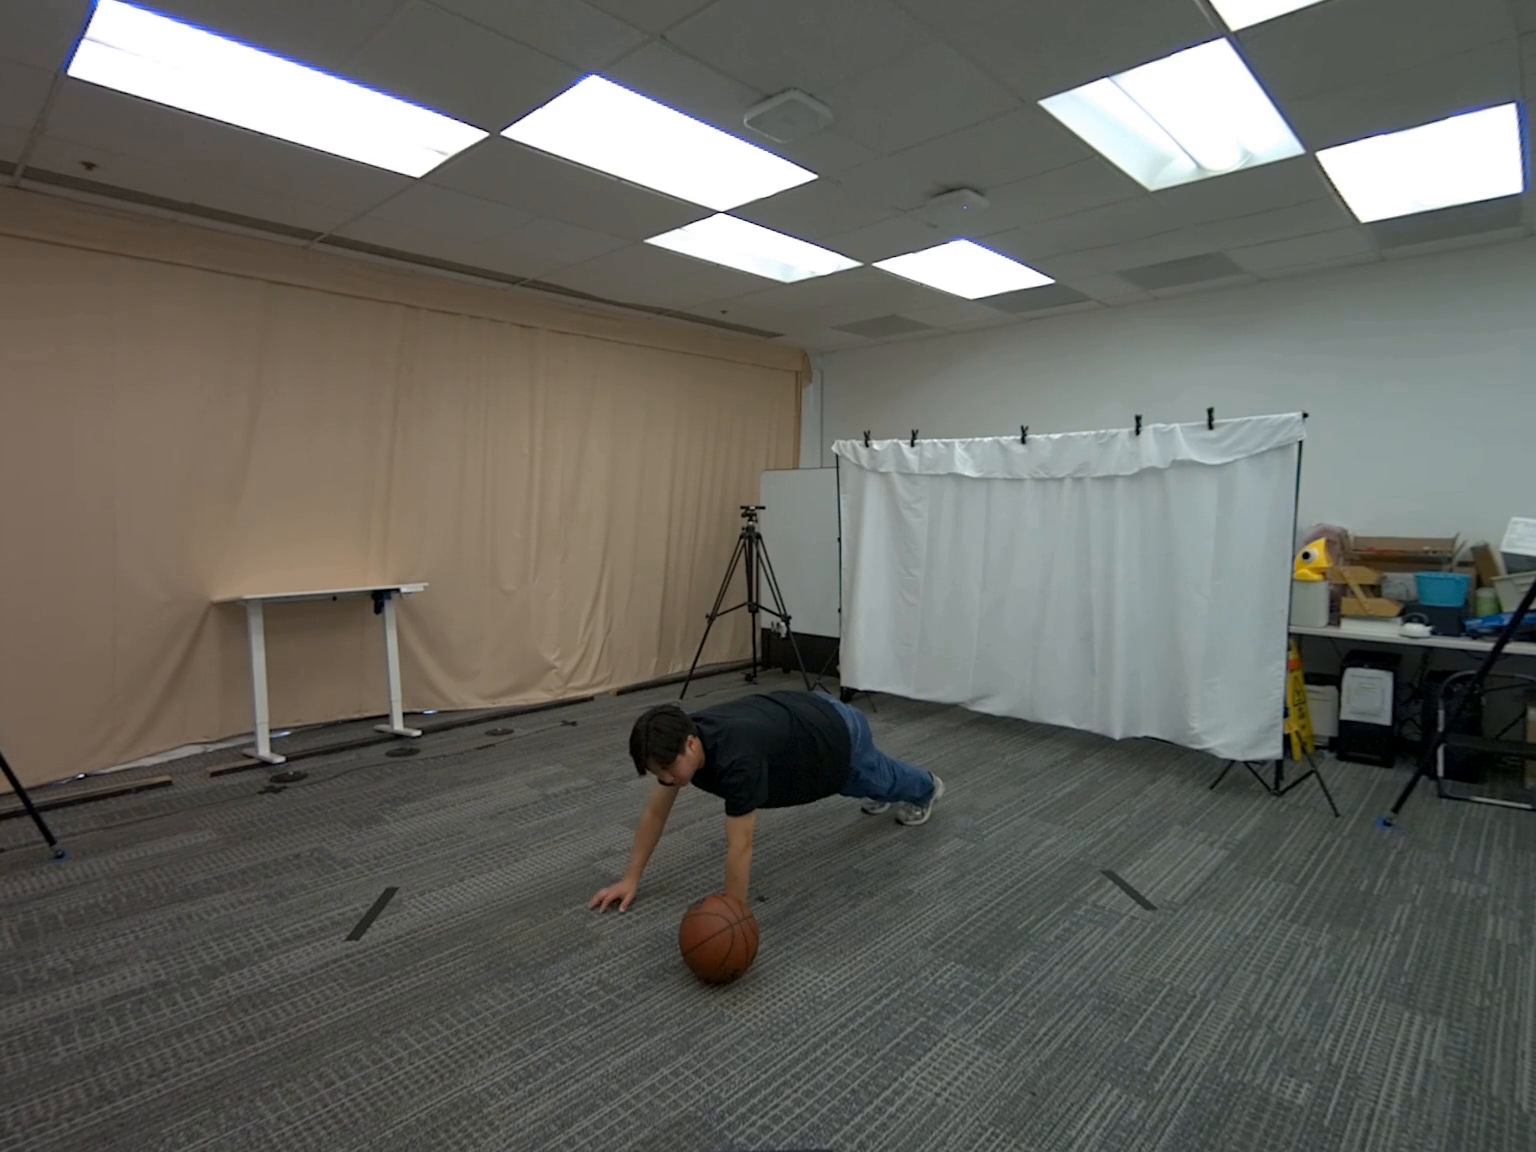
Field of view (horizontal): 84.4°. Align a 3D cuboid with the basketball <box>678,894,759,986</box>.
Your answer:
[{"bbox_3d":[-0.145,1.064,2.483,0.236,0.235,0.237,0,4,-2],"label":"basketball"}]
